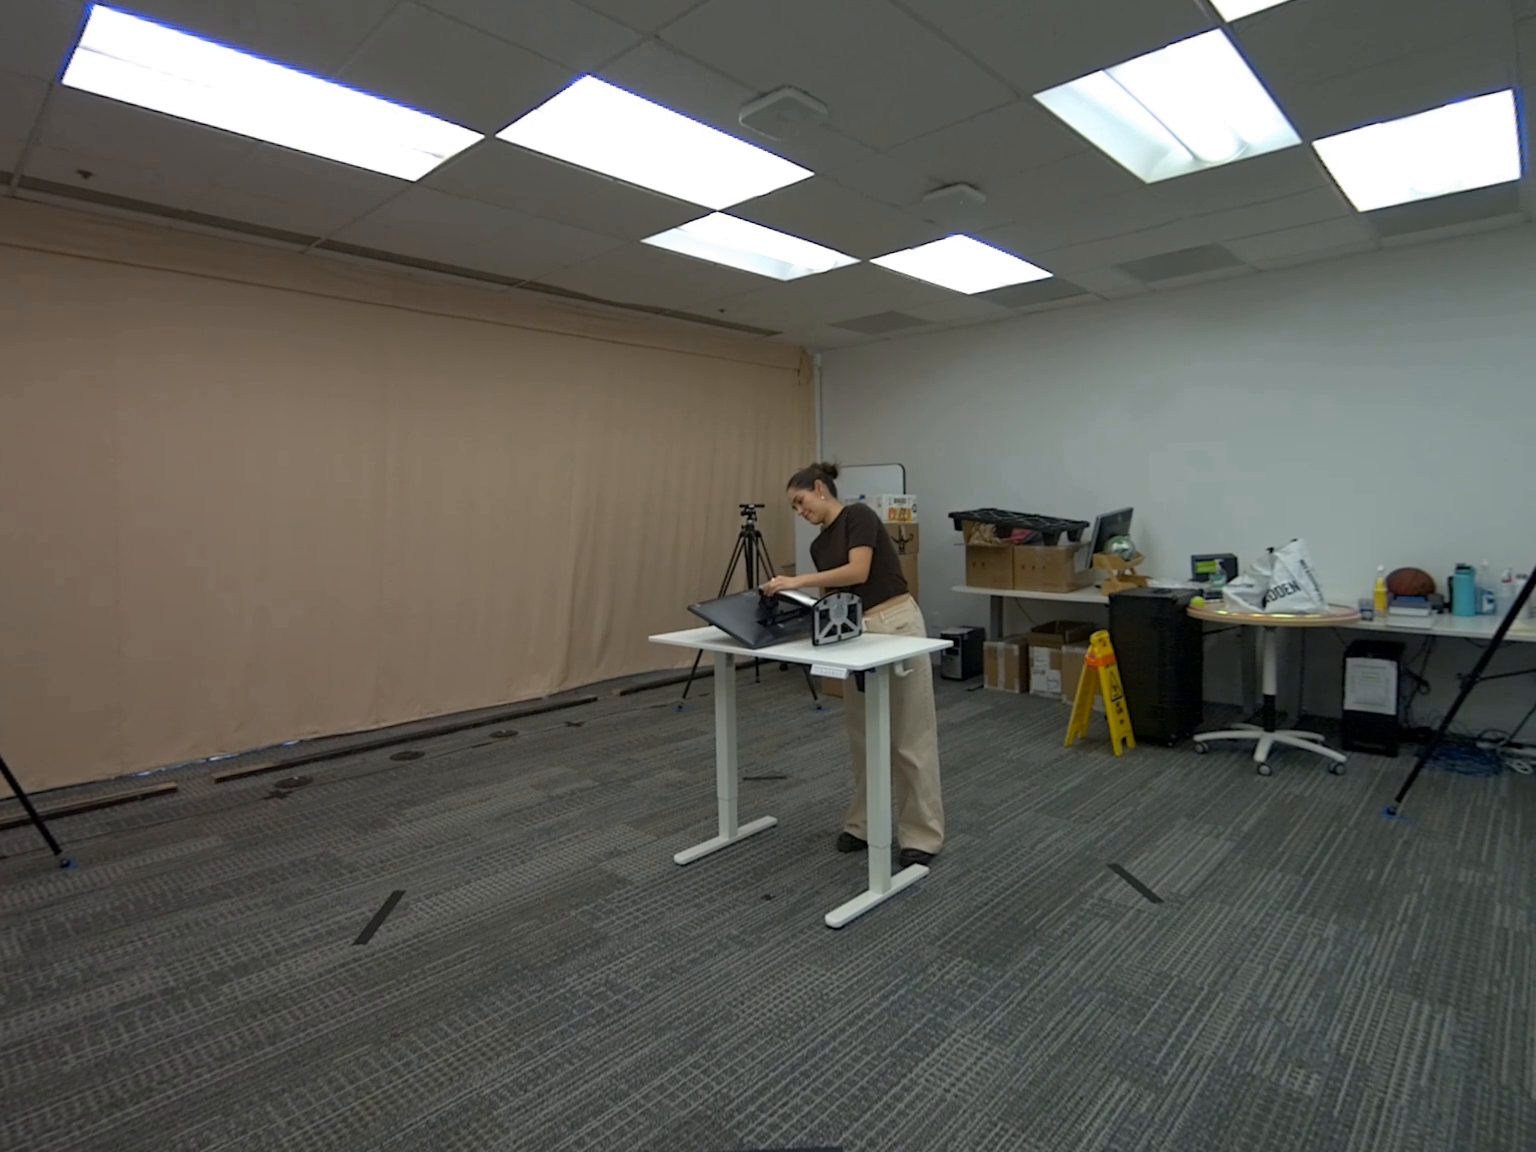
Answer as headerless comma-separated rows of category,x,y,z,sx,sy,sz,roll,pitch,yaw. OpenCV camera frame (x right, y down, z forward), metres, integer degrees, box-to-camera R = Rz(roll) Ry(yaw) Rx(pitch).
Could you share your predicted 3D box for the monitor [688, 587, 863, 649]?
monitor,0.067,0.129,3.158,0.541,0.186,0.523,9,12,43
